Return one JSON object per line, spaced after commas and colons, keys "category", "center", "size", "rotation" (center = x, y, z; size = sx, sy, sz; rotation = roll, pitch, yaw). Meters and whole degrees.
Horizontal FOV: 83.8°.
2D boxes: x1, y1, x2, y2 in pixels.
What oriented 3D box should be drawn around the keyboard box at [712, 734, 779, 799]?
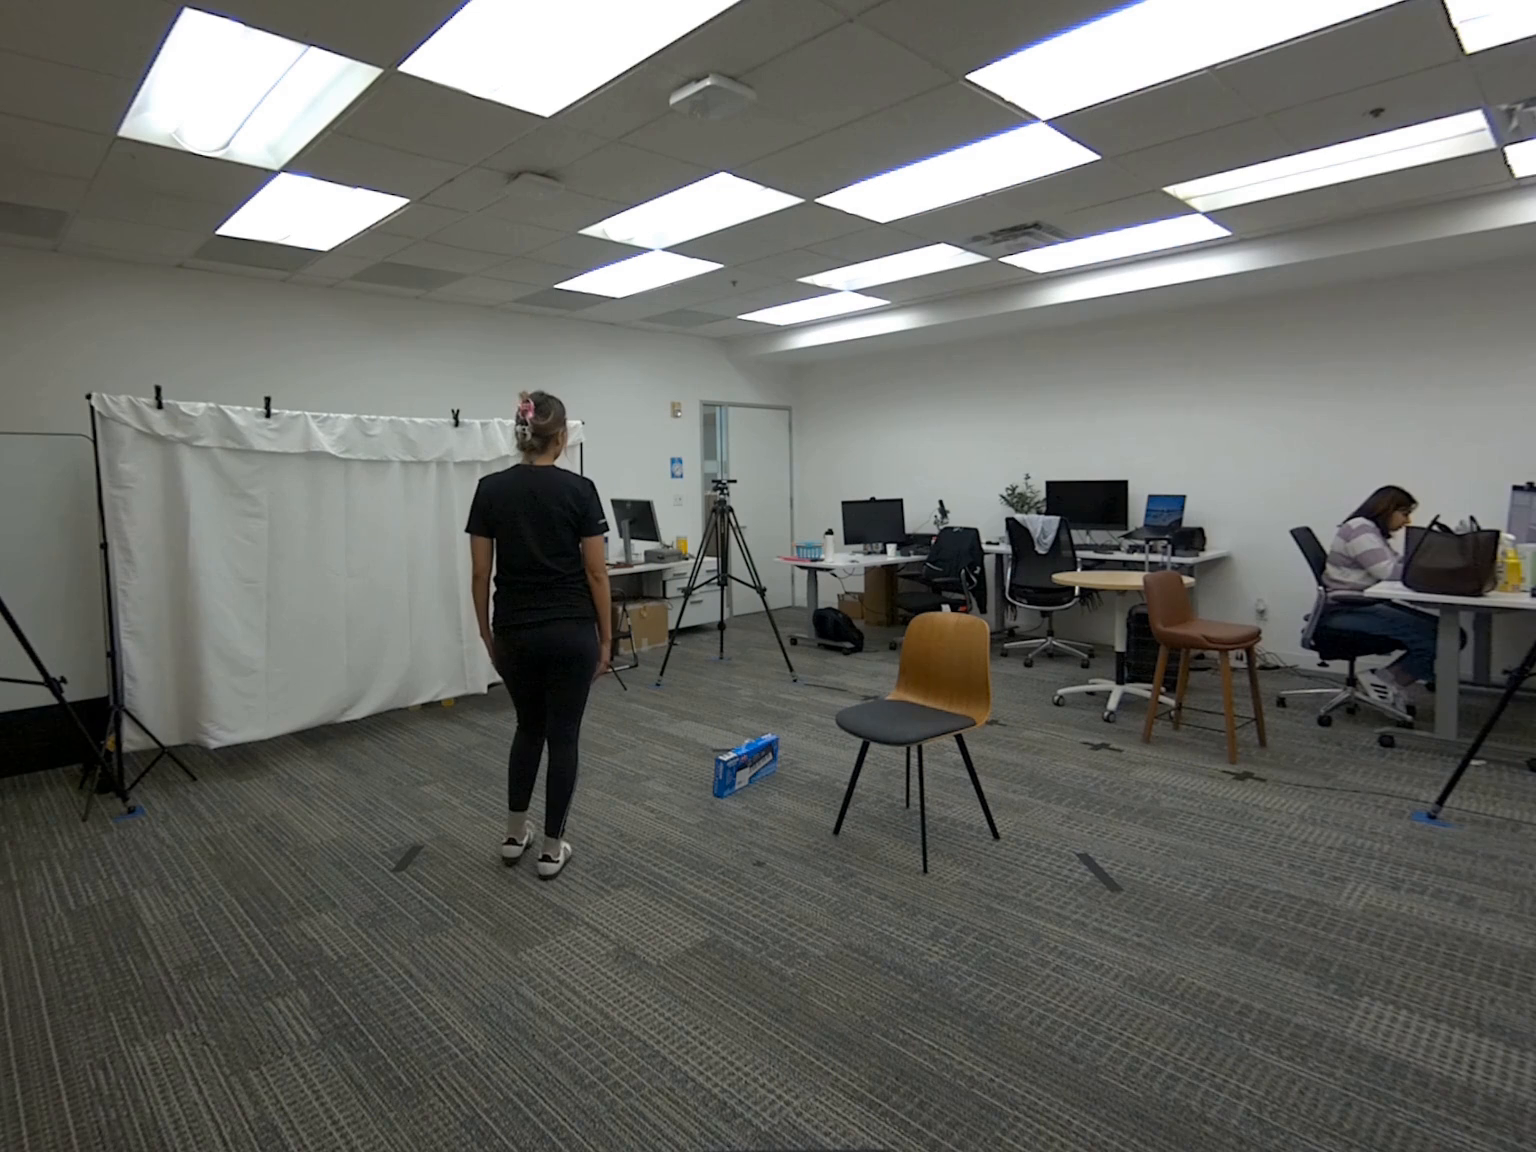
{"category": "keyboard box", "center": [-0.096, 0.871, 3.940], "size": [0.061, 0.175, 0.426], "rotation": [9, 10, 33]}
